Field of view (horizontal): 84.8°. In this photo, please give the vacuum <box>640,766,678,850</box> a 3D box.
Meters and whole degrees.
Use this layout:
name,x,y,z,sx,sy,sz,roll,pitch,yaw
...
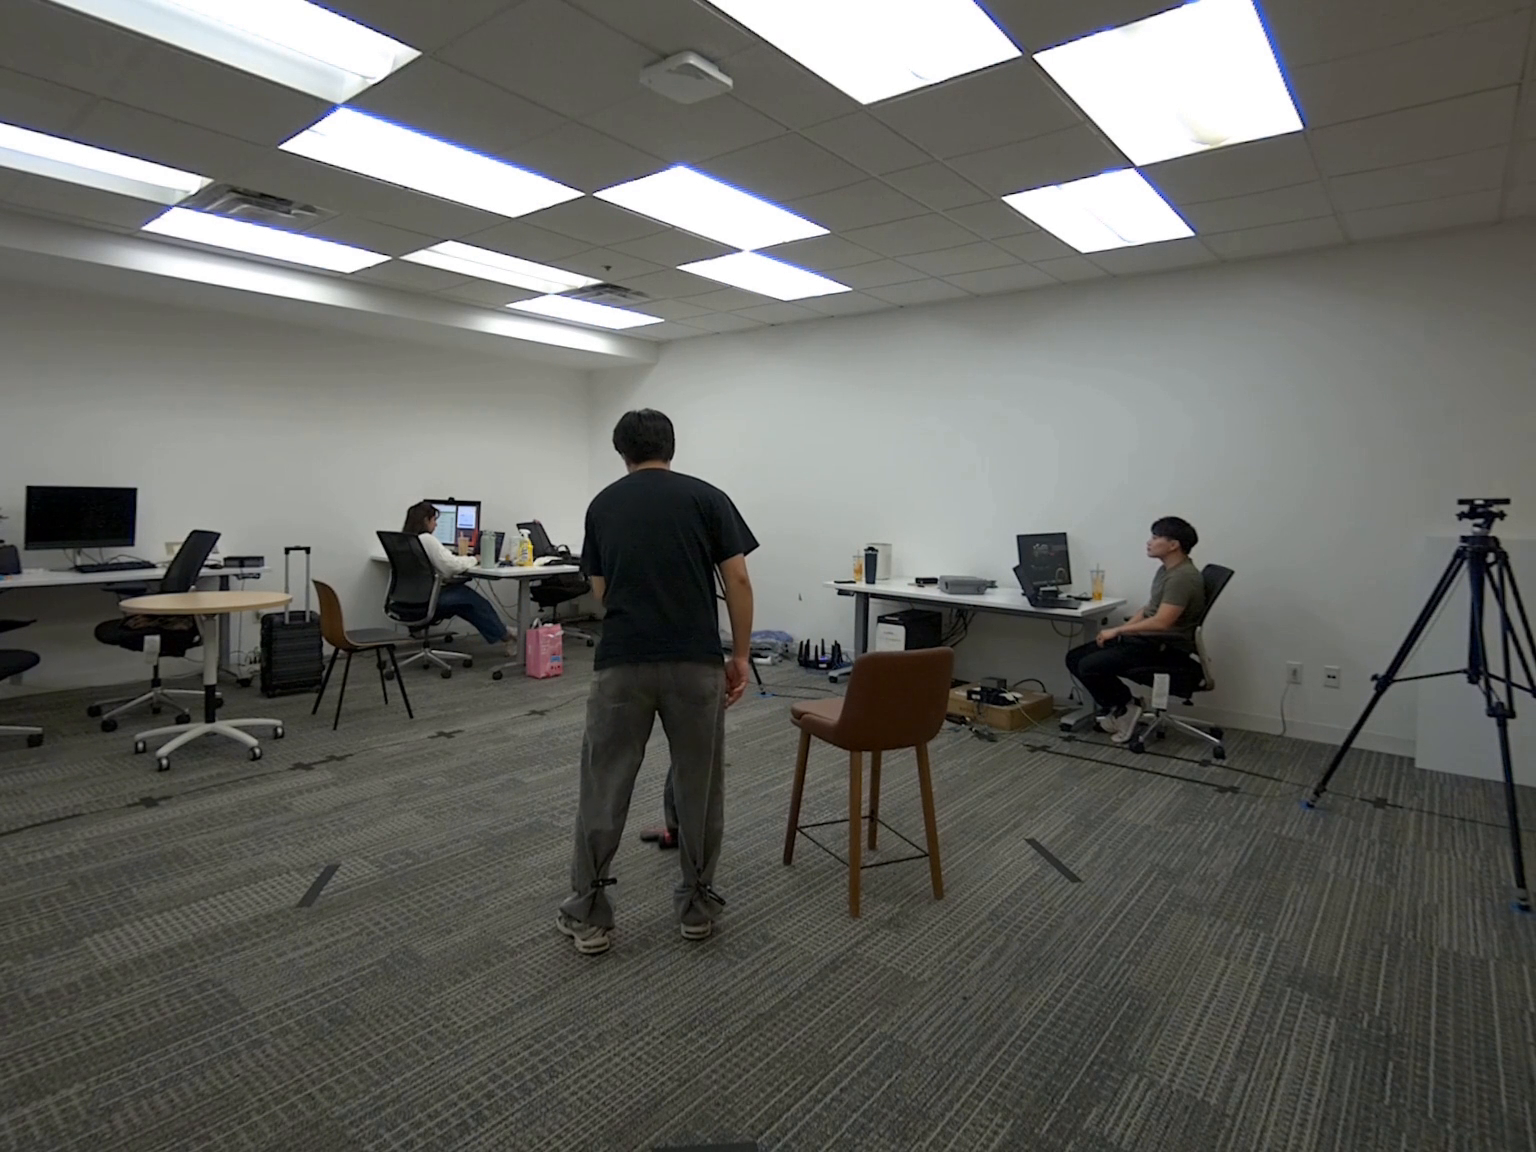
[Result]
name,x,y,z,sx,sy,sz,roll,pitch,yaw
vacuum,-0.322,0.614,3.070,0.250,1.025,0.149,0,35,-11
